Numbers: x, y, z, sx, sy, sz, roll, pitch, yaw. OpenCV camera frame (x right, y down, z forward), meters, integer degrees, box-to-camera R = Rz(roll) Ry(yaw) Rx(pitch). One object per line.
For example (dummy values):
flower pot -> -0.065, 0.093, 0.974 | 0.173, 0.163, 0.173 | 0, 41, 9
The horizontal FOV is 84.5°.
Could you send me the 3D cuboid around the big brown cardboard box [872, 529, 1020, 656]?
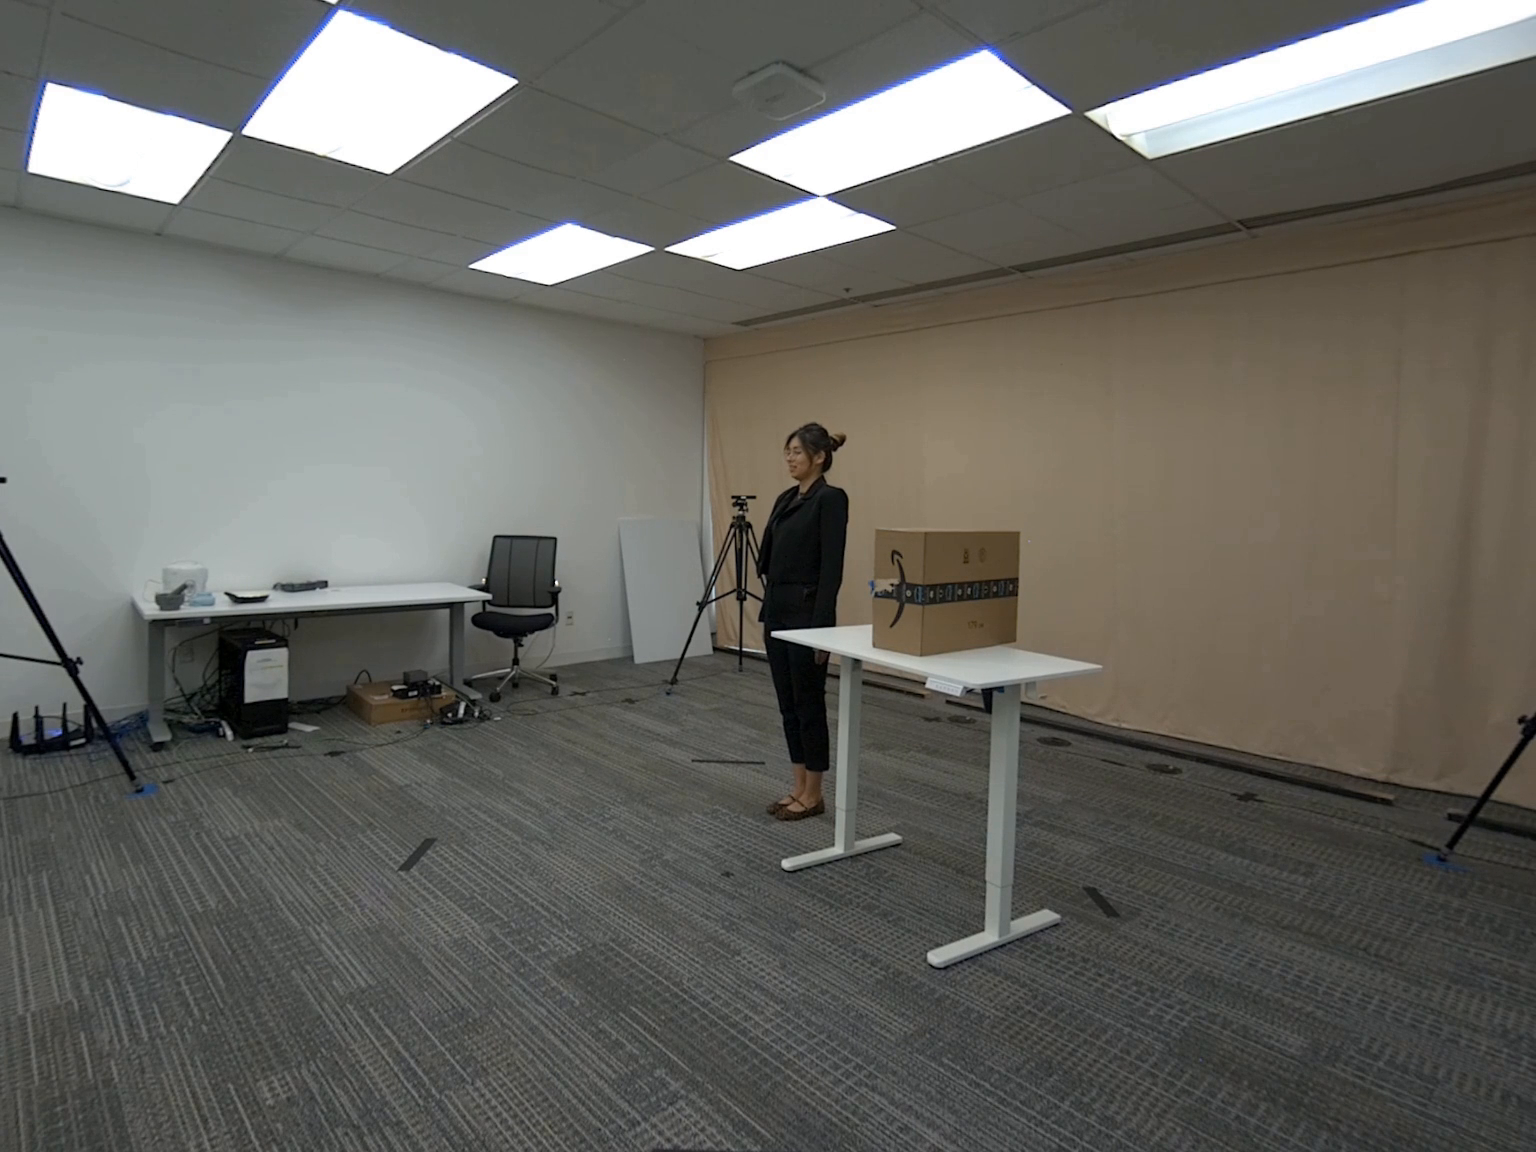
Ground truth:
big brown cardboard box -> 0.634, 0.039, 3.018 | 0.575, 0.417, 0.239 | -2, 4, -40
